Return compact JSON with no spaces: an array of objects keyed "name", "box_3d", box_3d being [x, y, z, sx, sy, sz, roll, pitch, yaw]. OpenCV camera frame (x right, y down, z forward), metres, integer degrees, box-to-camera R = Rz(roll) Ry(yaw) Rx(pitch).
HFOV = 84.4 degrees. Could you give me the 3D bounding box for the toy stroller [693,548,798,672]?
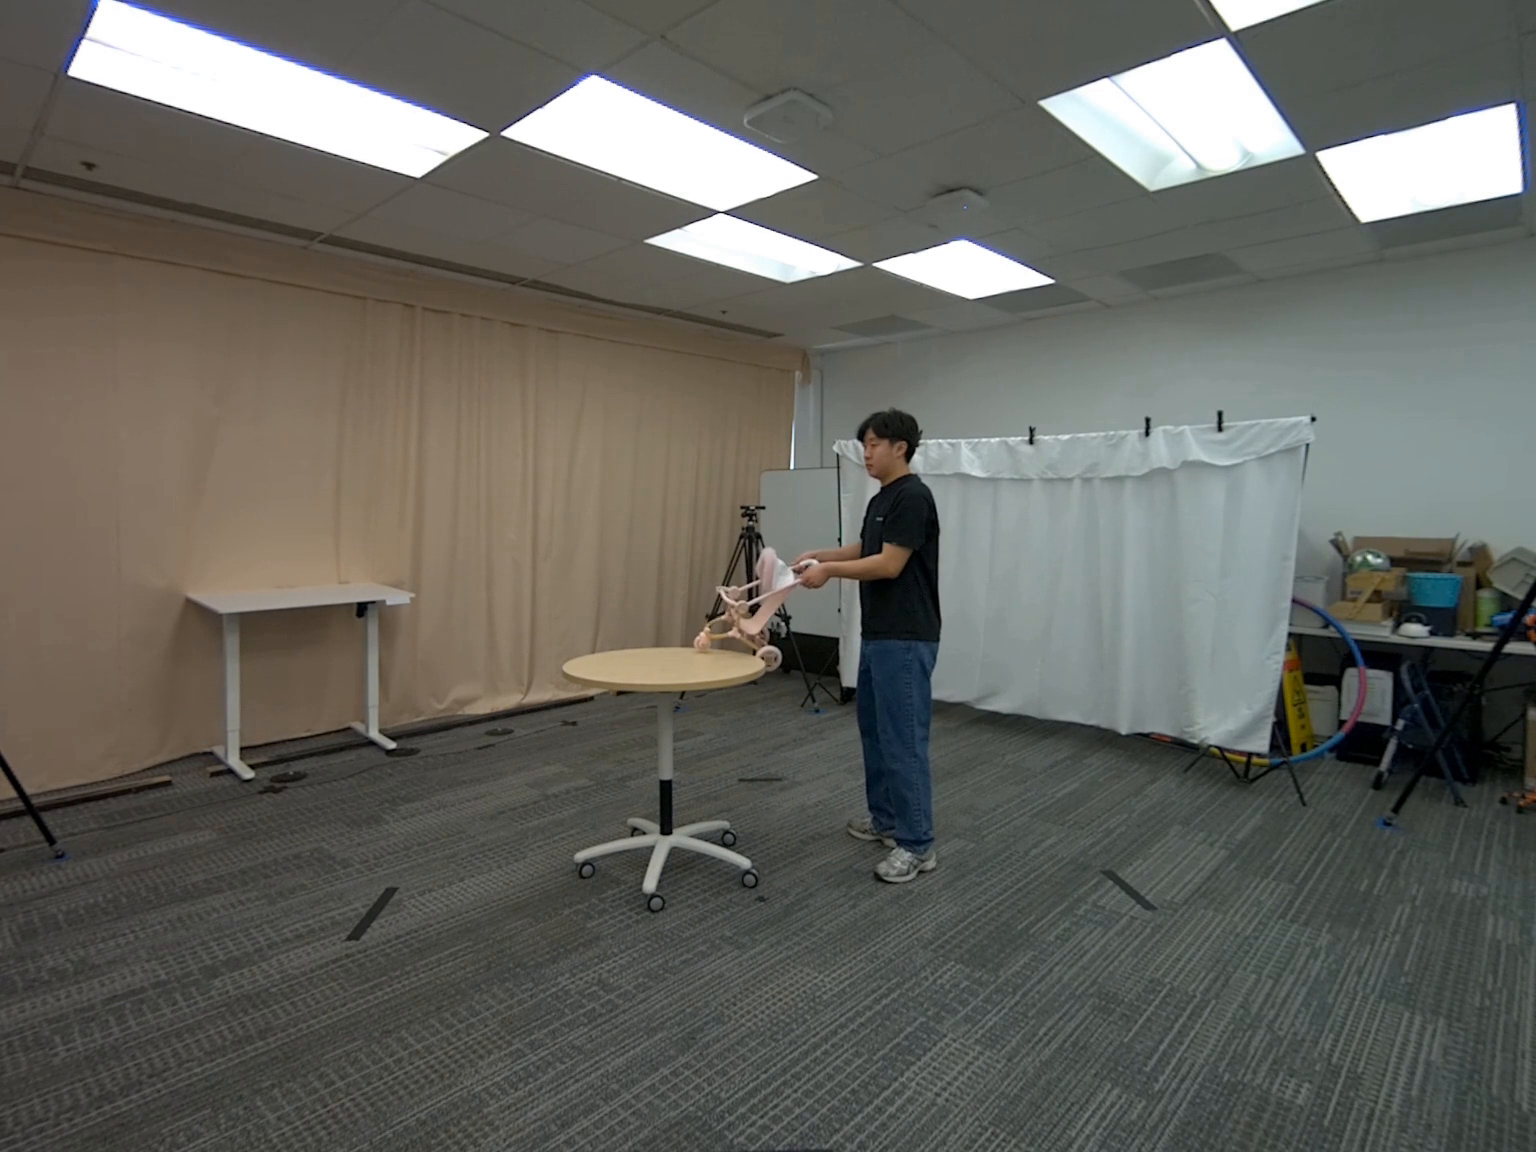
[{"name":"toy stroller","box_3d":[-0.048,0.118,3.437,0.338,0.534,0.285,24,10,-9]}]
